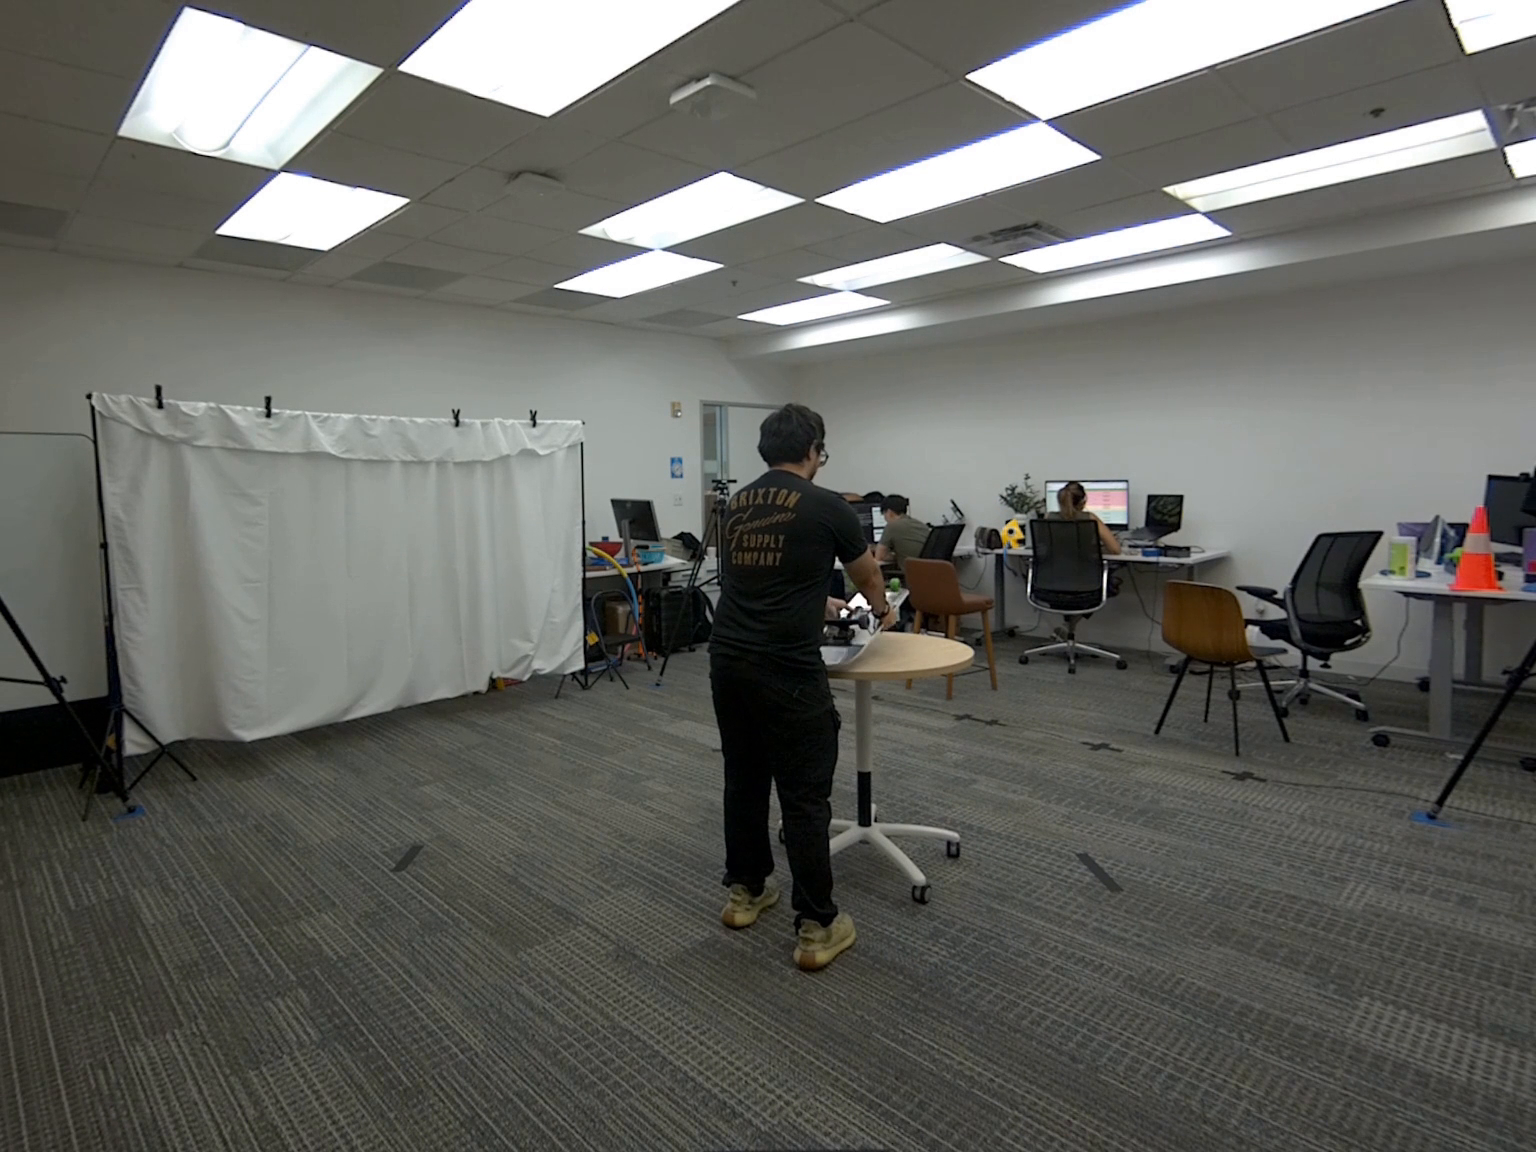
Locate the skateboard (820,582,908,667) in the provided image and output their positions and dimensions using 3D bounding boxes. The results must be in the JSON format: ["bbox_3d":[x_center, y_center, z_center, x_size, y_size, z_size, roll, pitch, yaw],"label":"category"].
[{"bbox_3d":[0.338,0.131,2.997,0.198,0.109,0.779,-4,16,27],"label":"skateboard"}]
